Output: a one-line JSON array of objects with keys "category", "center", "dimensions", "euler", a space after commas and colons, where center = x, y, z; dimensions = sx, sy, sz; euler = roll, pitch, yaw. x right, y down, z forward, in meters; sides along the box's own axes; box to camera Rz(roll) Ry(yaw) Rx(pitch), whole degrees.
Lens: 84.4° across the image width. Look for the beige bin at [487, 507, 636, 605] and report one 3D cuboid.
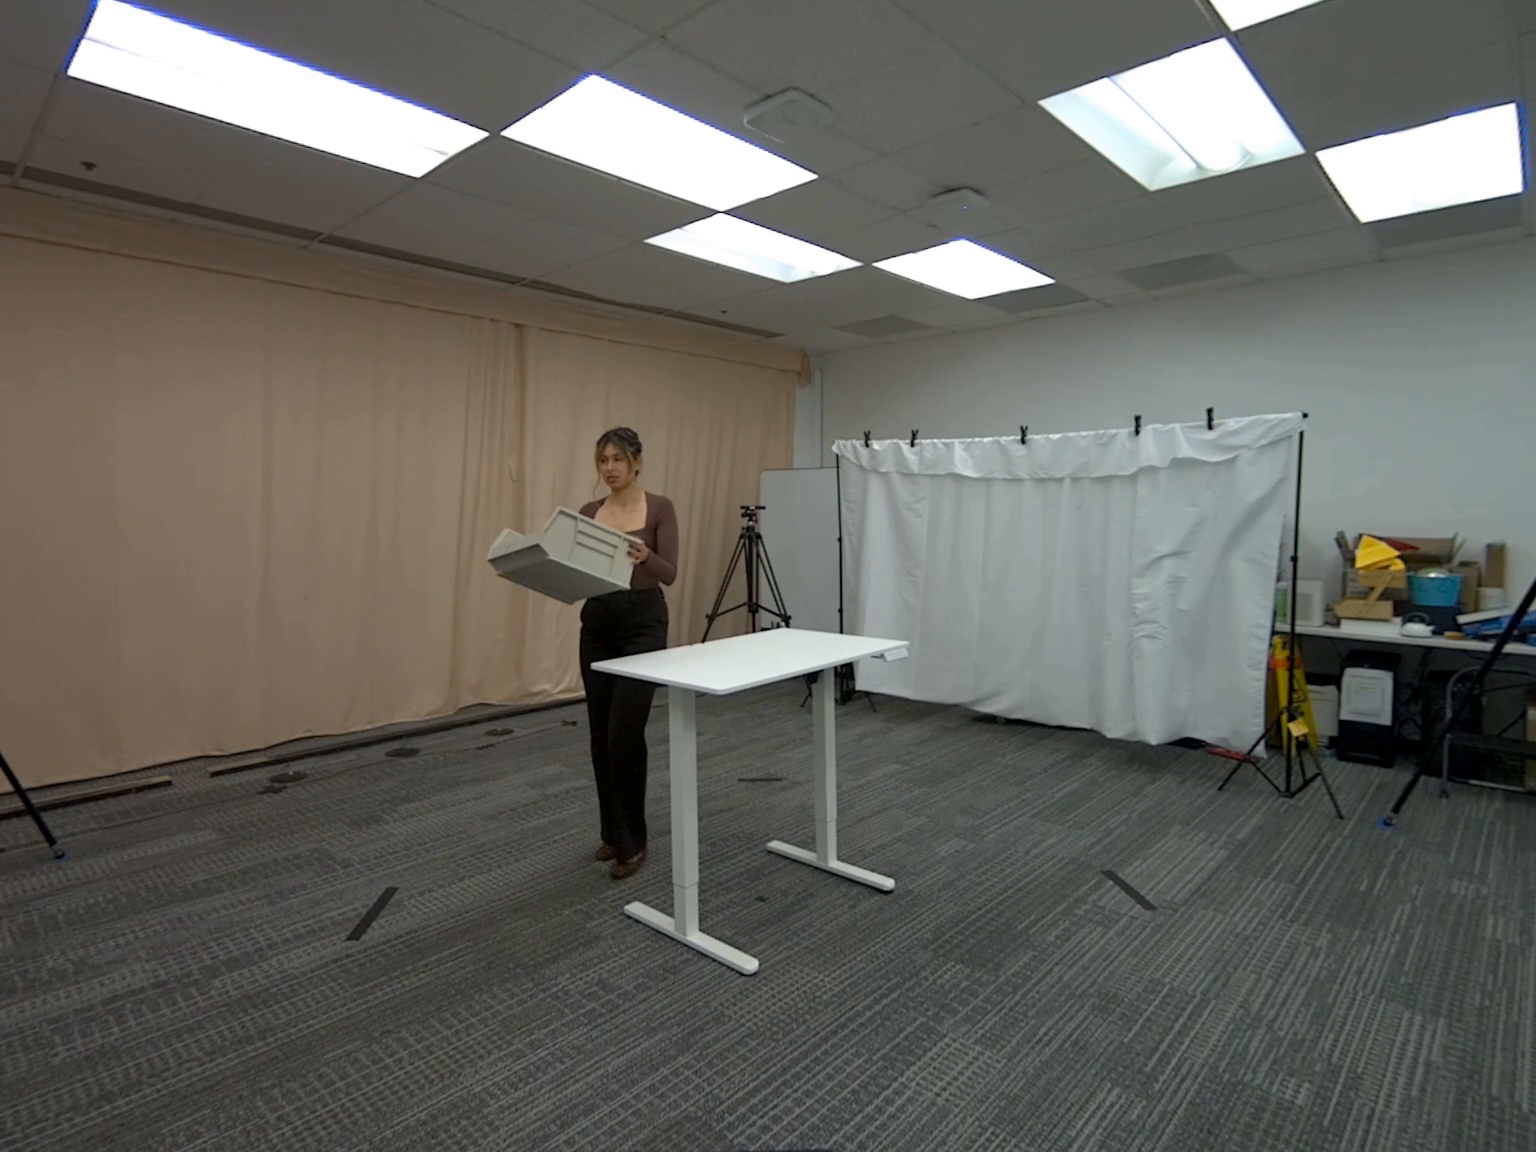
[{"category": "beige bin", "center": [-0.716, -0.064, 2.936], "dimensions": [0.365, 0.190, 0.433], "euler": [26, -25, -33]}]
